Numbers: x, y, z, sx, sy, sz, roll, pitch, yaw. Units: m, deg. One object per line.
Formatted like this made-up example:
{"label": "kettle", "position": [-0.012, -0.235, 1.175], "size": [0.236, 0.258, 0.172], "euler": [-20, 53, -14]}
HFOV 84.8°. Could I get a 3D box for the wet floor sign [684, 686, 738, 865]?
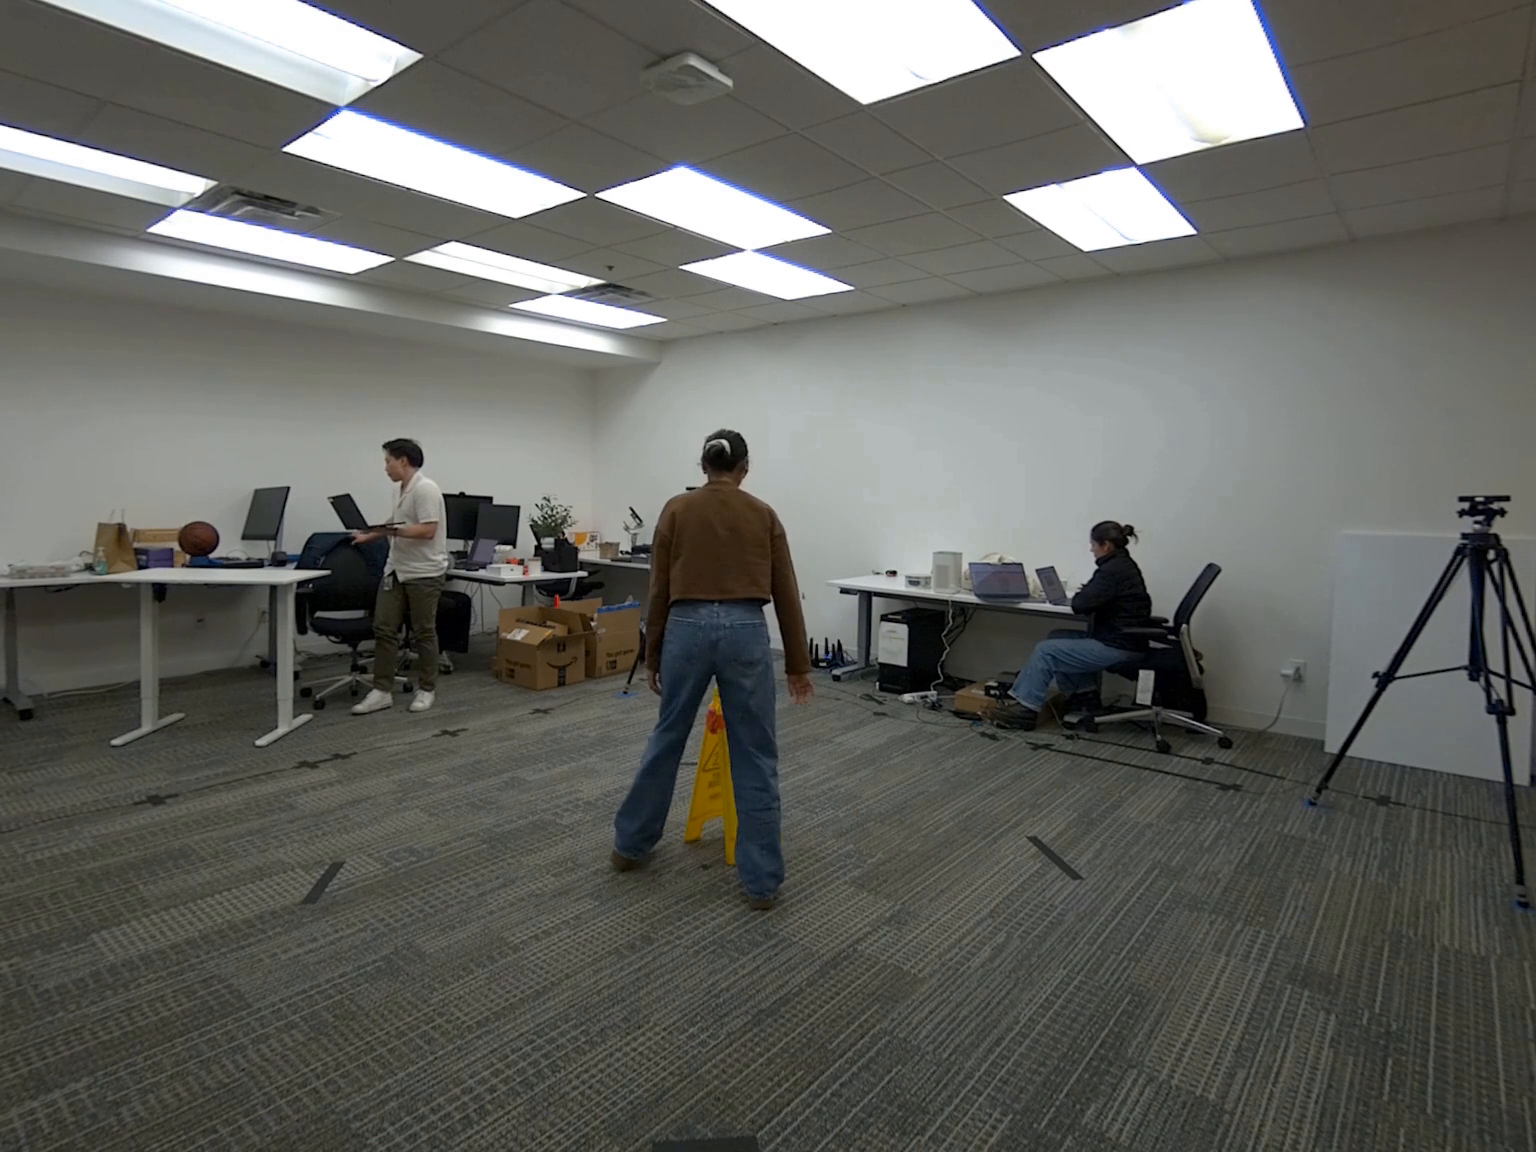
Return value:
{"label": "wet floor sign", "position": [-0.136, 0.722, 3.302], "size": [0.273, 0.645, 0.299], "euler": [-1, 3, -42]}
